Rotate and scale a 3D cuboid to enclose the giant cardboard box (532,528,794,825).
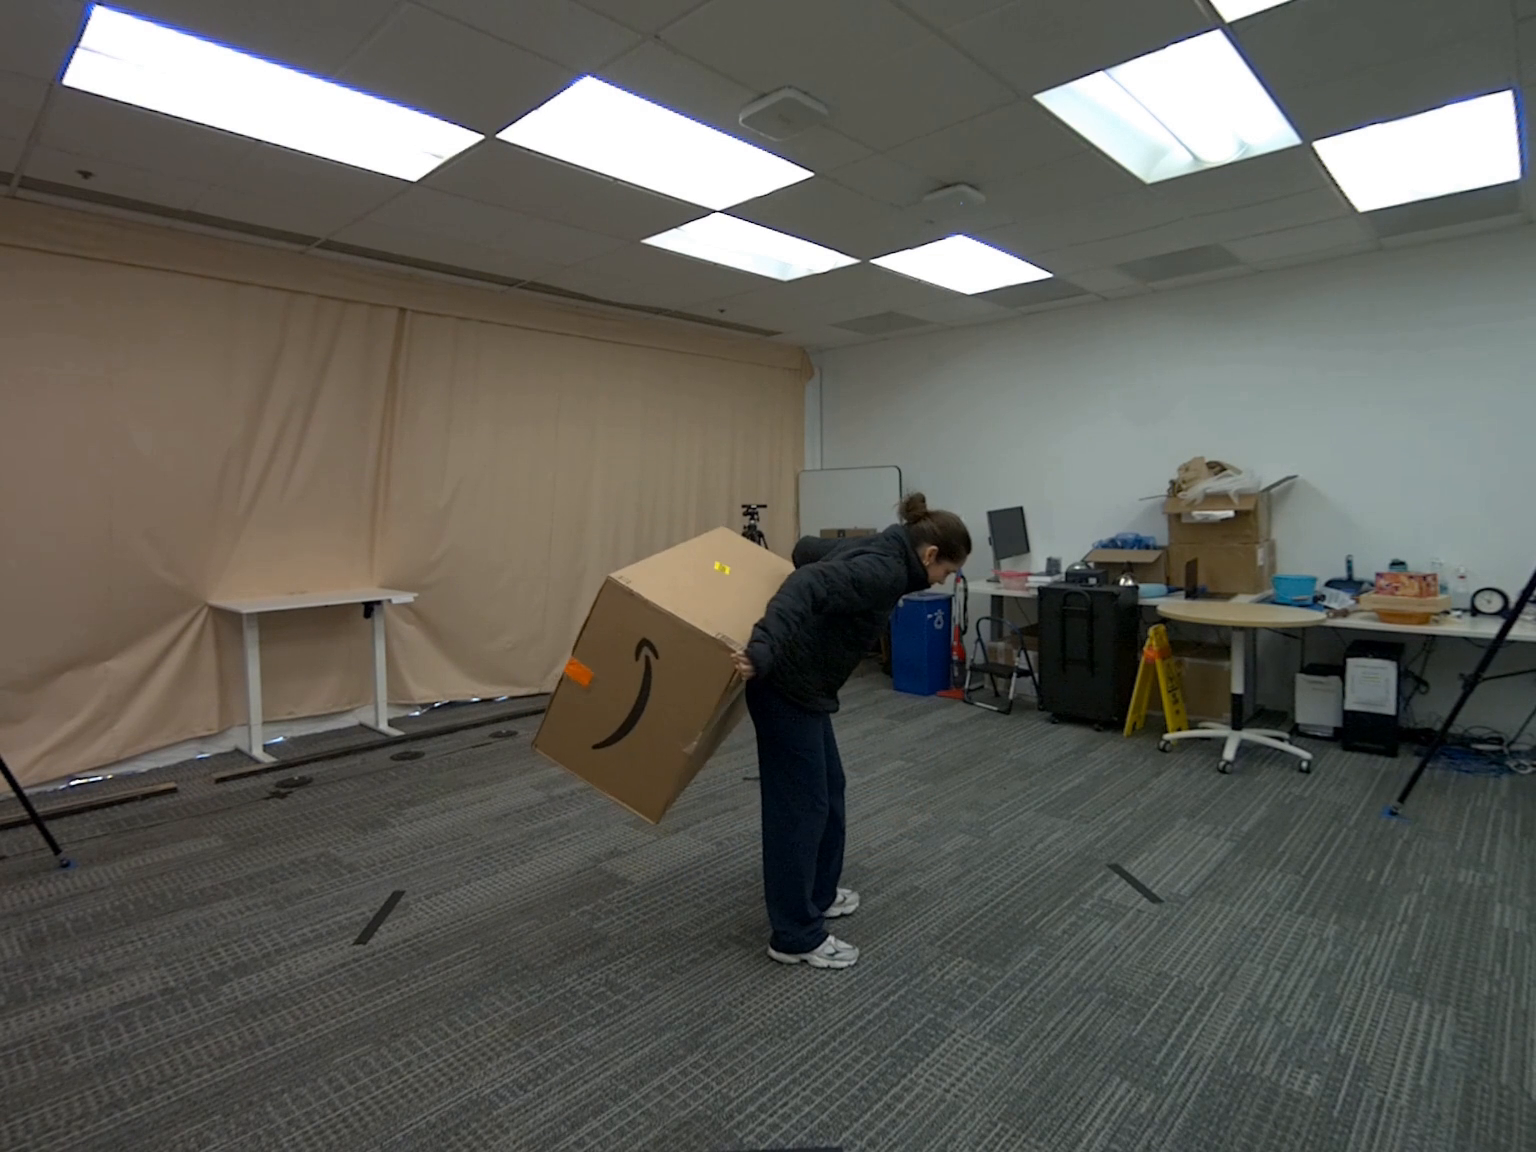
[{"bbox_3d":[-0.228,0.253,2.756,0.432,0.577,1.014,29,16,8],"label":"giant cardboard box"}]
